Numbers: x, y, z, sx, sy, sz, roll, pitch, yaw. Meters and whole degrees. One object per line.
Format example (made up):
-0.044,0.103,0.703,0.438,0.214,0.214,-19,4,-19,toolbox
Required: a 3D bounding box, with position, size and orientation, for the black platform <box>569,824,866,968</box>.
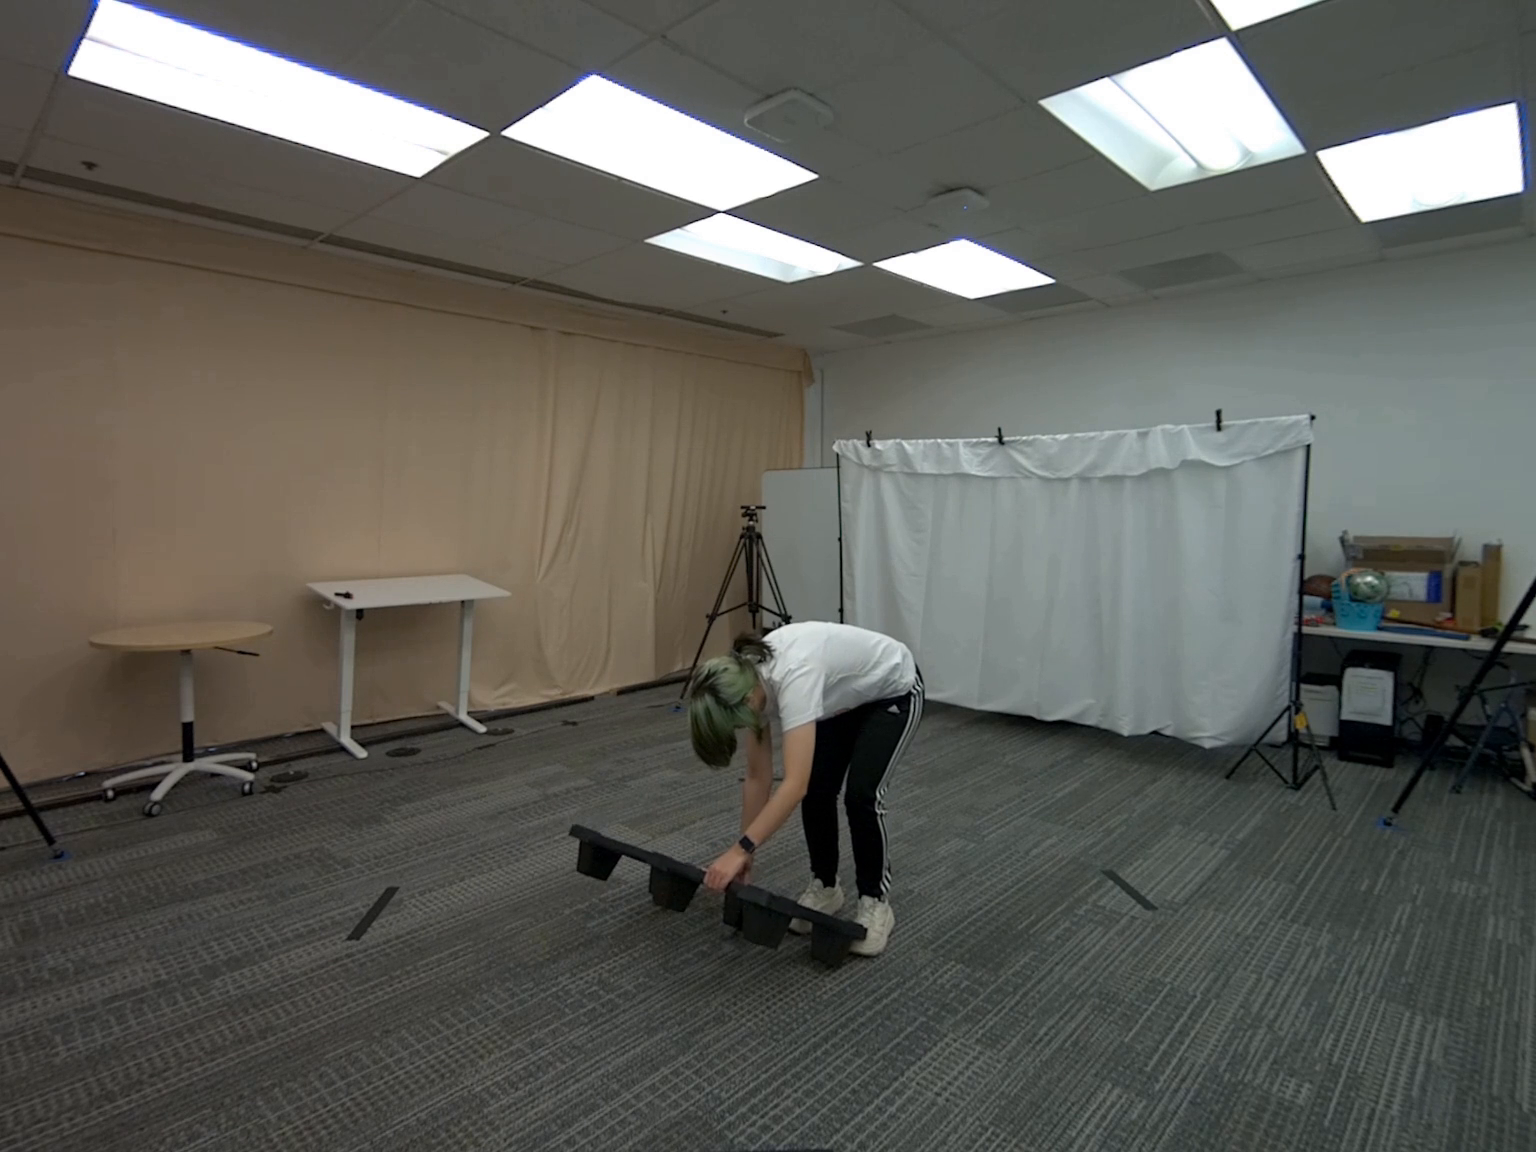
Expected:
-0.183,1.004,2.628,0.832,0.144,0.583,3,-26,39,black platform
